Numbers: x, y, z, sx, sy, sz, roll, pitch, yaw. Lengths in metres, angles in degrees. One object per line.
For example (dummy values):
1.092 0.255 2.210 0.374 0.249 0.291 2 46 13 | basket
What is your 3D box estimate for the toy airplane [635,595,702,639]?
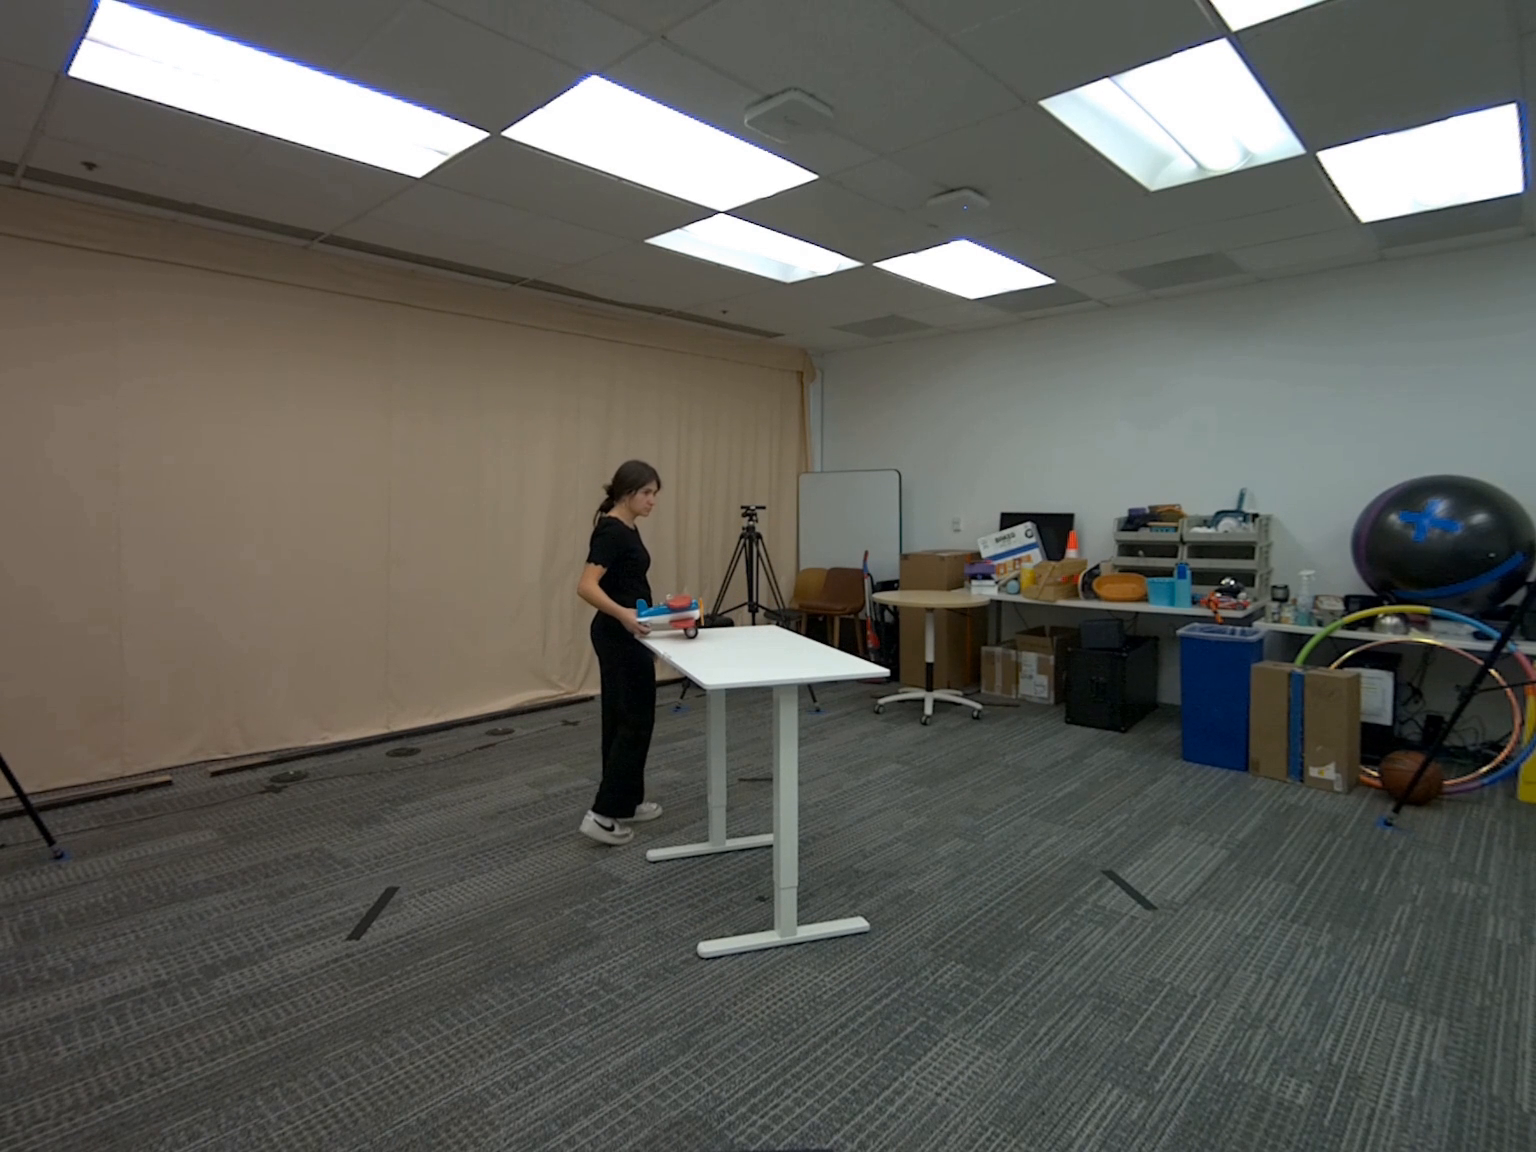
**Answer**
-0.369 0.154 3.239 0.251 0.156 0.259 4 5 -33 | toy airplane
